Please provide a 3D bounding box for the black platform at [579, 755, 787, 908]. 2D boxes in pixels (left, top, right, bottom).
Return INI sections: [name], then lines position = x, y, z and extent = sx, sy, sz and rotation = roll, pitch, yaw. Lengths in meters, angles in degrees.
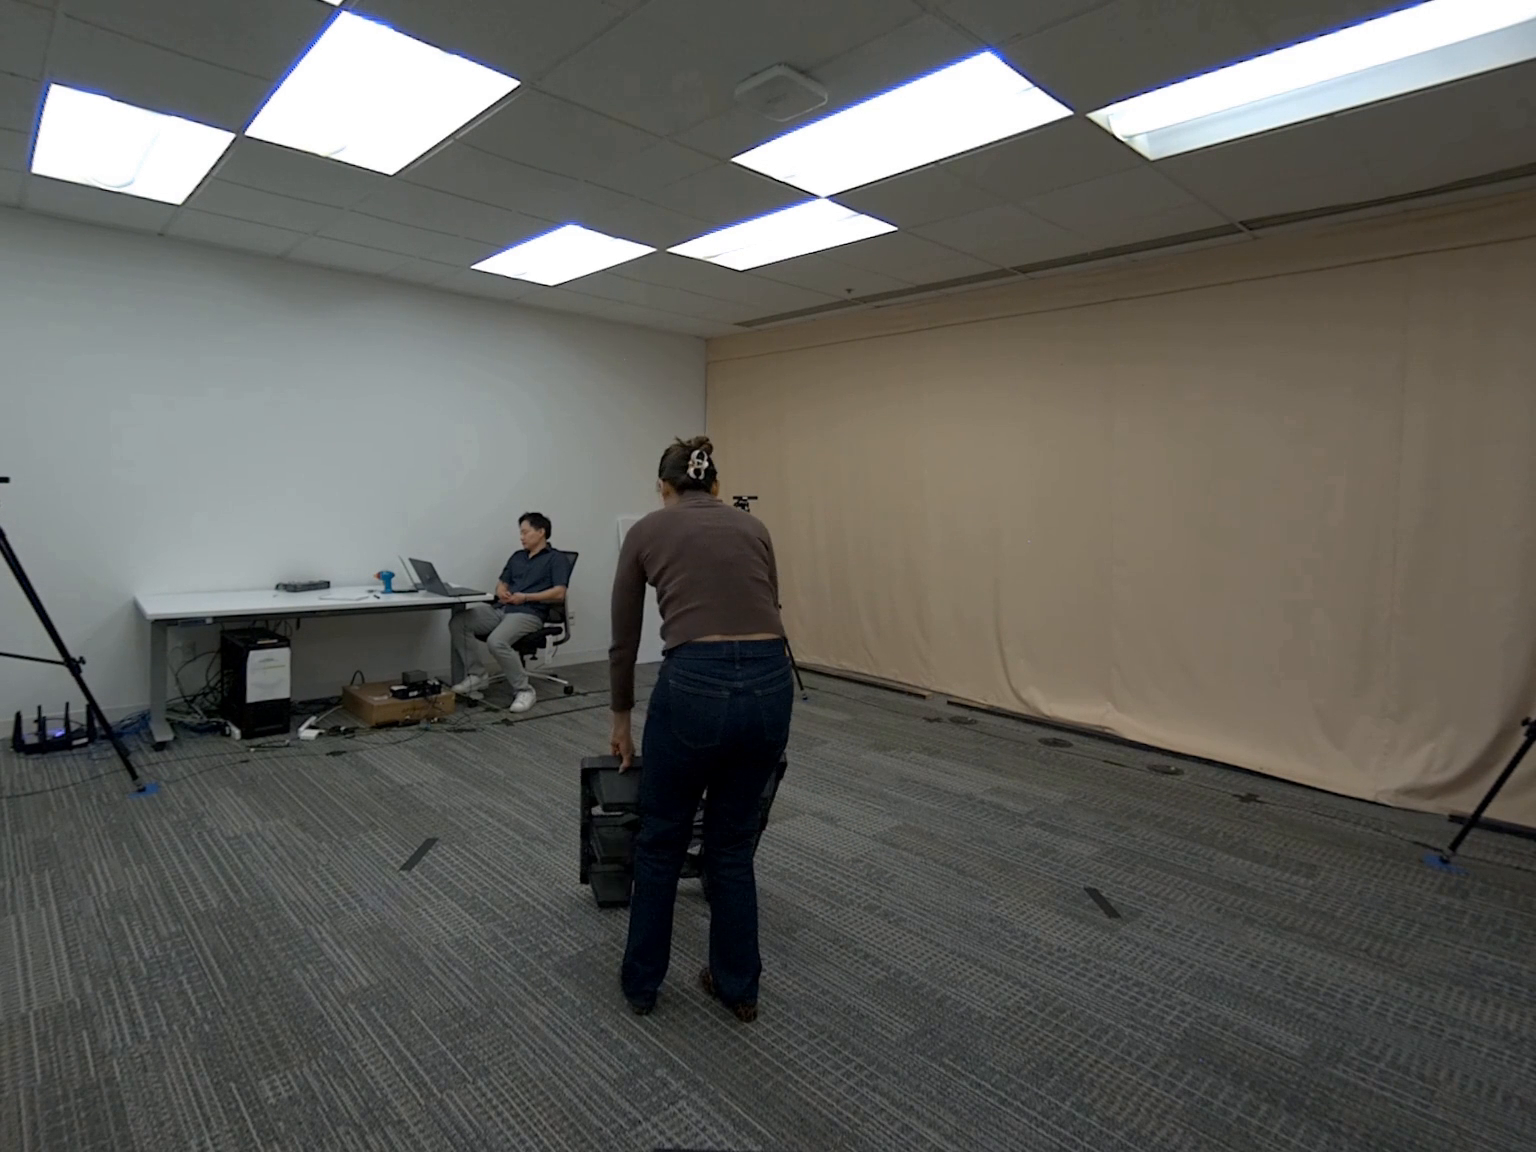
[black platform]
position = -0.297, 0.824, 2.655
extent = 0.599, 0.792, 0.147
rotation = 0, 47, -12
